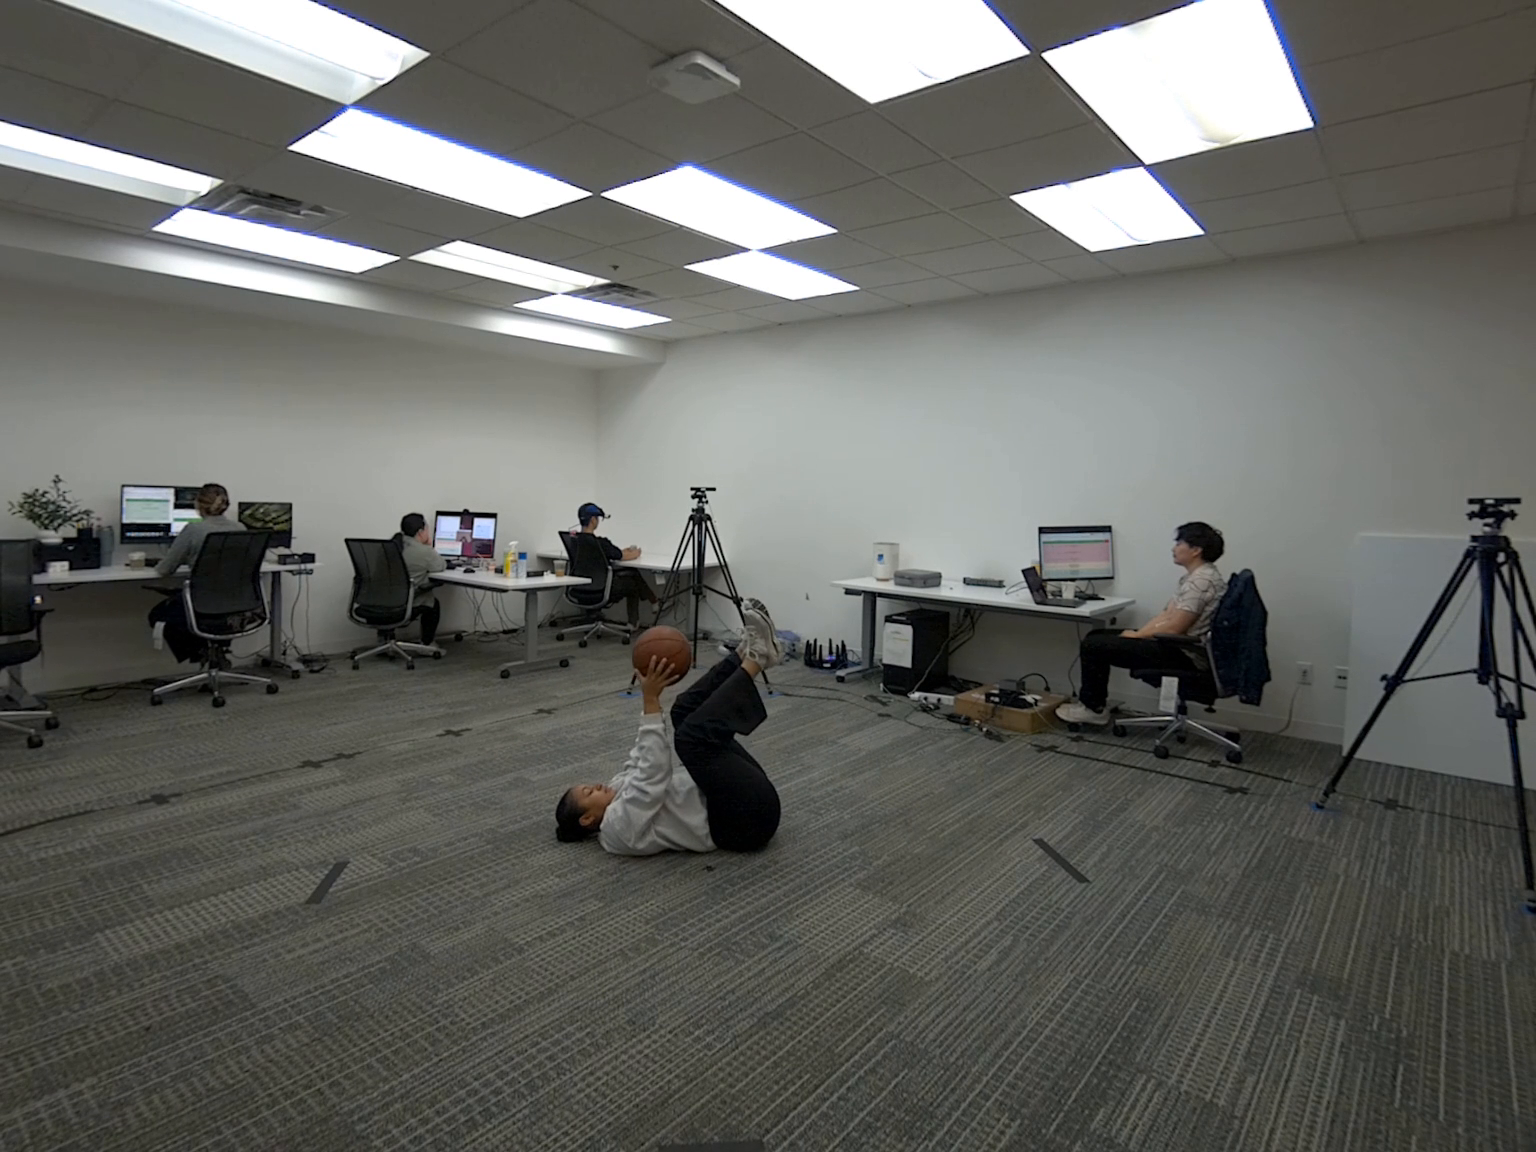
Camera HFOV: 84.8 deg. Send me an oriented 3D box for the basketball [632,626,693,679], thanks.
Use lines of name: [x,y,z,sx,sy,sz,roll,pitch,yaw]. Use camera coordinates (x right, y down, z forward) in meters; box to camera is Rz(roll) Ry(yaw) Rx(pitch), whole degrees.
basketball: [-0.437,0.317,3.344,0.235,0.235,0.237,1,4,-2]
